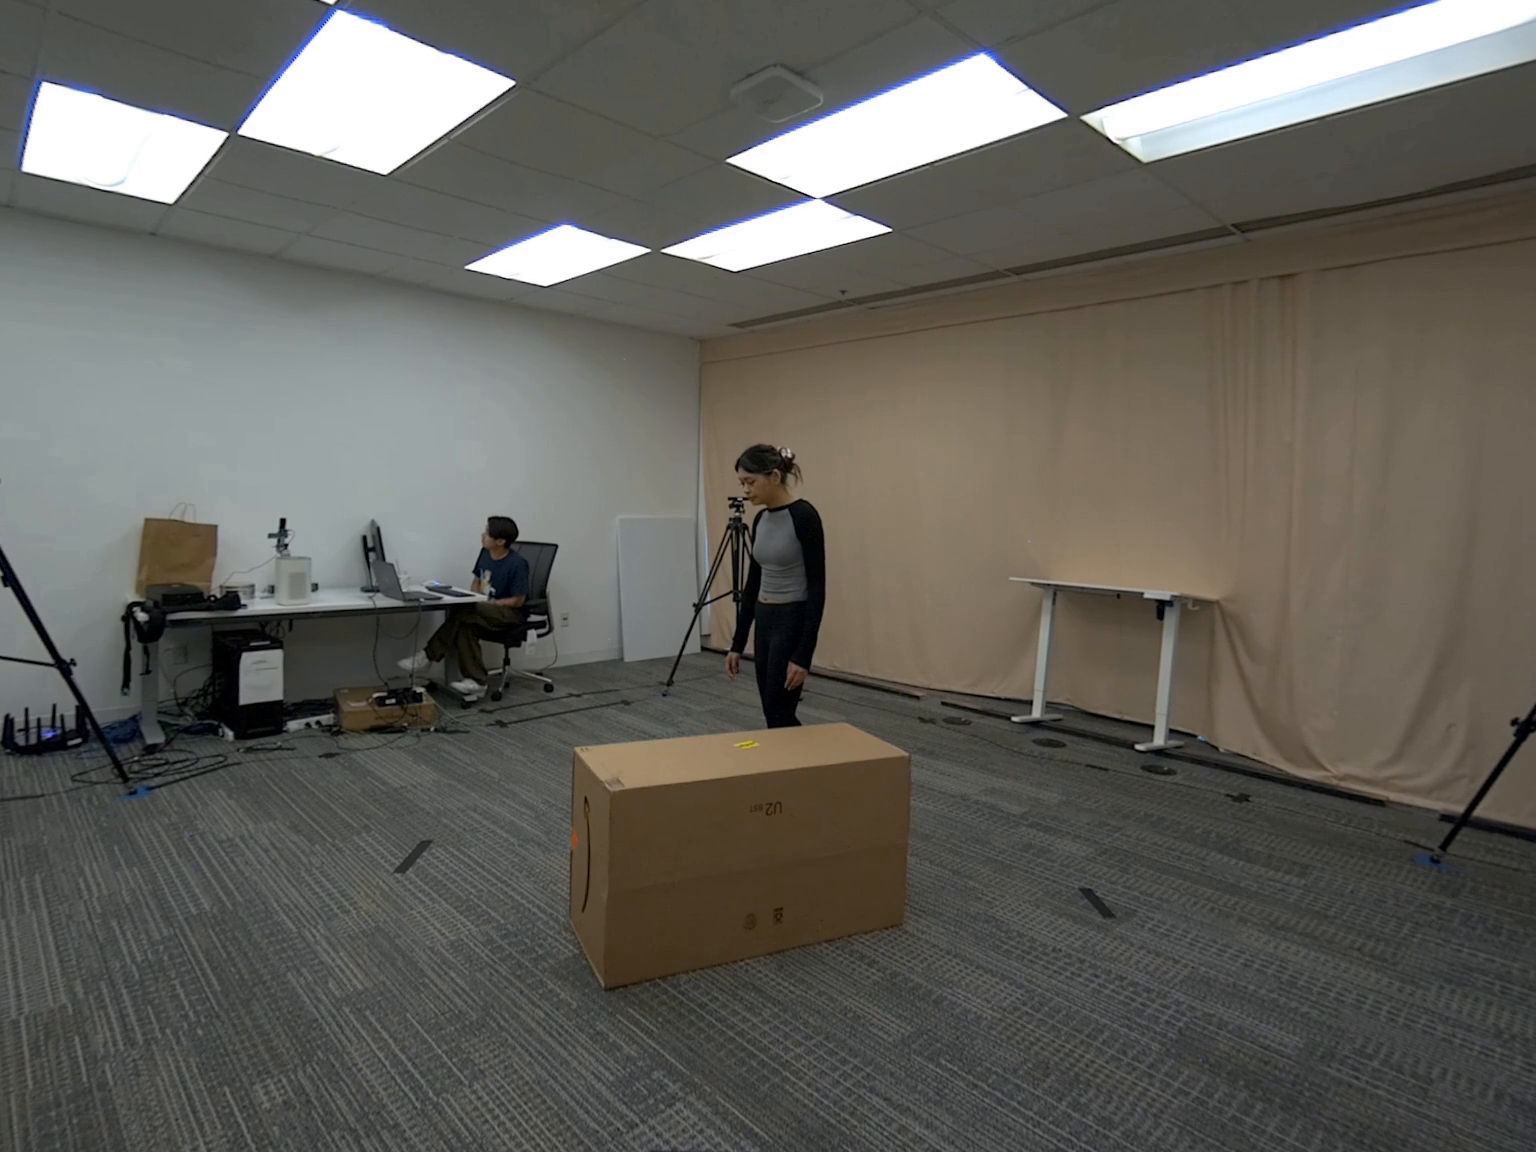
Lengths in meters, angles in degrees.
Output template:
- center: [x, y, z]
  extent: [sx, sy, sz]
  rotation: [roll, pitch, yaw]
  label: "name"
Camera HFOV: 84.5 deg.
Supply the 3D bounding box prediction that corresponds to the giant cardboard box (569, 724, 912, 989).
- center: [-0.091, 0.853, 2.746]
  extent: [1.007, 0.576, 0.435]
  rotation: [0, 4, -25]
  label: "giant cardboard box"
